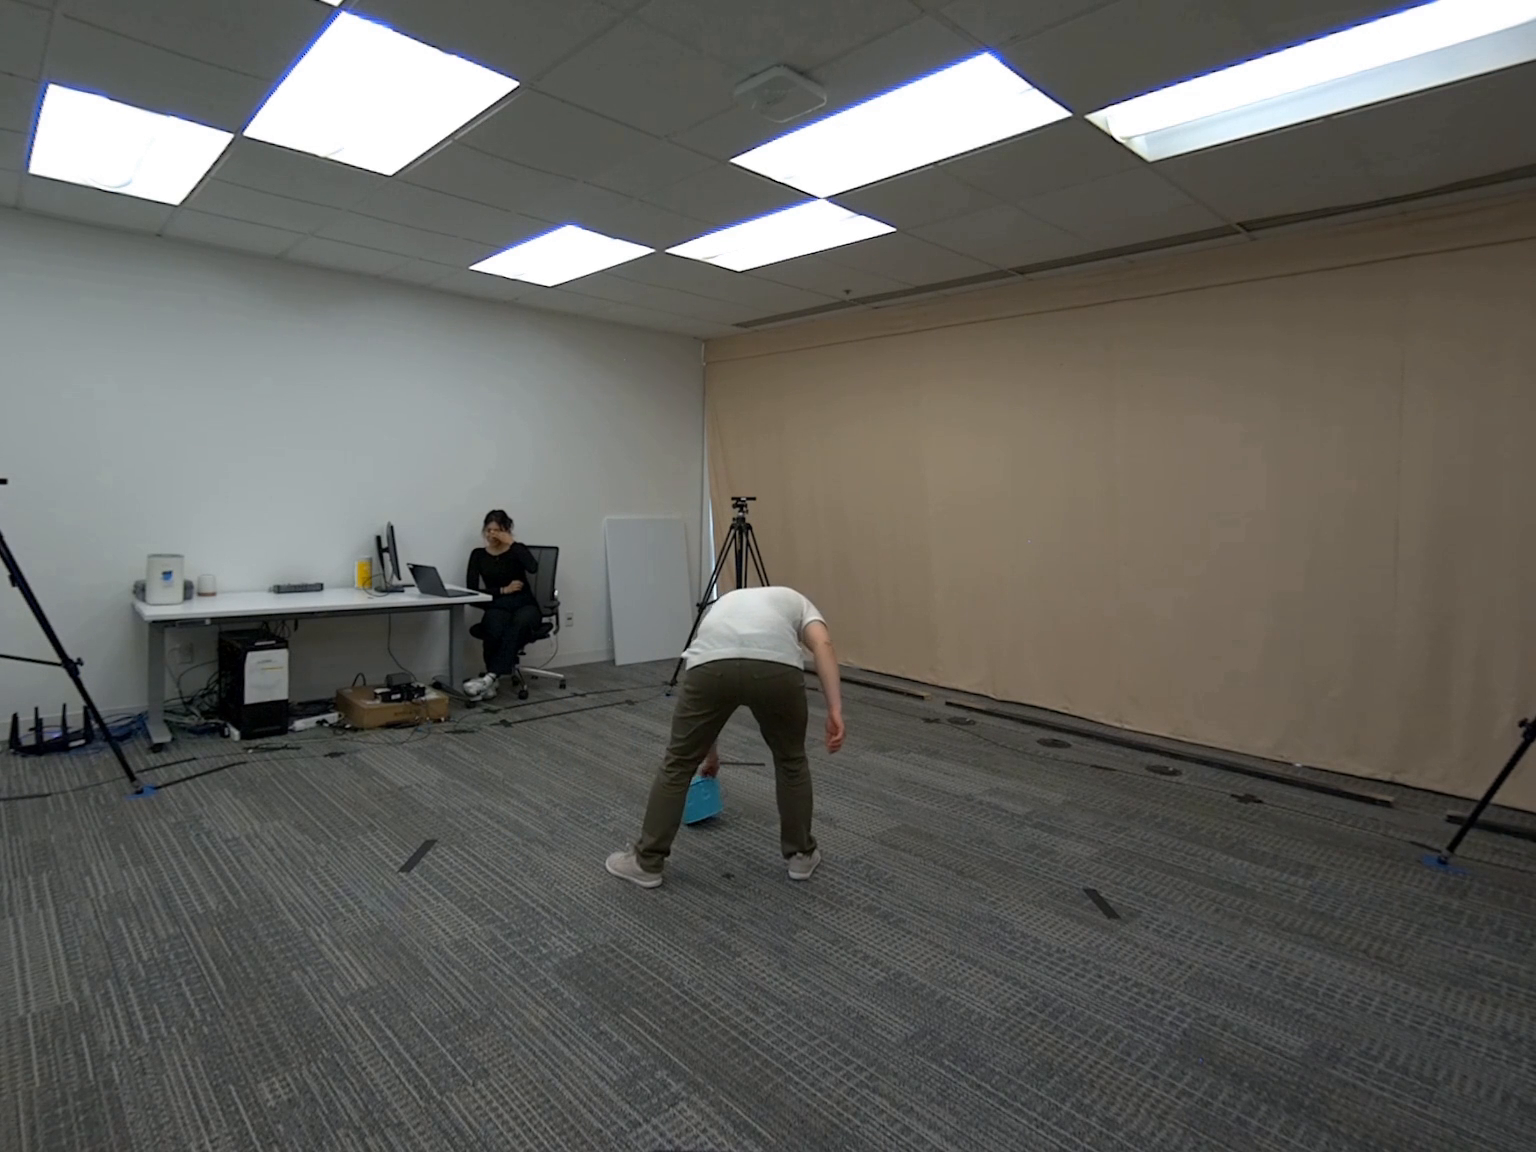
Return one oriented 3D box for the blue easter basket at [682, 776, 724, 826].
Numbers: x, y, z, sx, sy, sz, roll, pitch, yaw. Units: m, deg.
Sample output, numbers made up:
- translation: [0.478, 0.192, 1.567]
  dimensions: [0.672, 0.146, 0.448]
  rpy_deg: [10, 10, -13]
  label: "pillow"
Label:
- translation: [-0.314, 0.956, 3.611]
  dimensions: [0.243, 0.157, 0.242]
  rpy_deg: [-19, -6, -4]
  label: "blue easter basket"
